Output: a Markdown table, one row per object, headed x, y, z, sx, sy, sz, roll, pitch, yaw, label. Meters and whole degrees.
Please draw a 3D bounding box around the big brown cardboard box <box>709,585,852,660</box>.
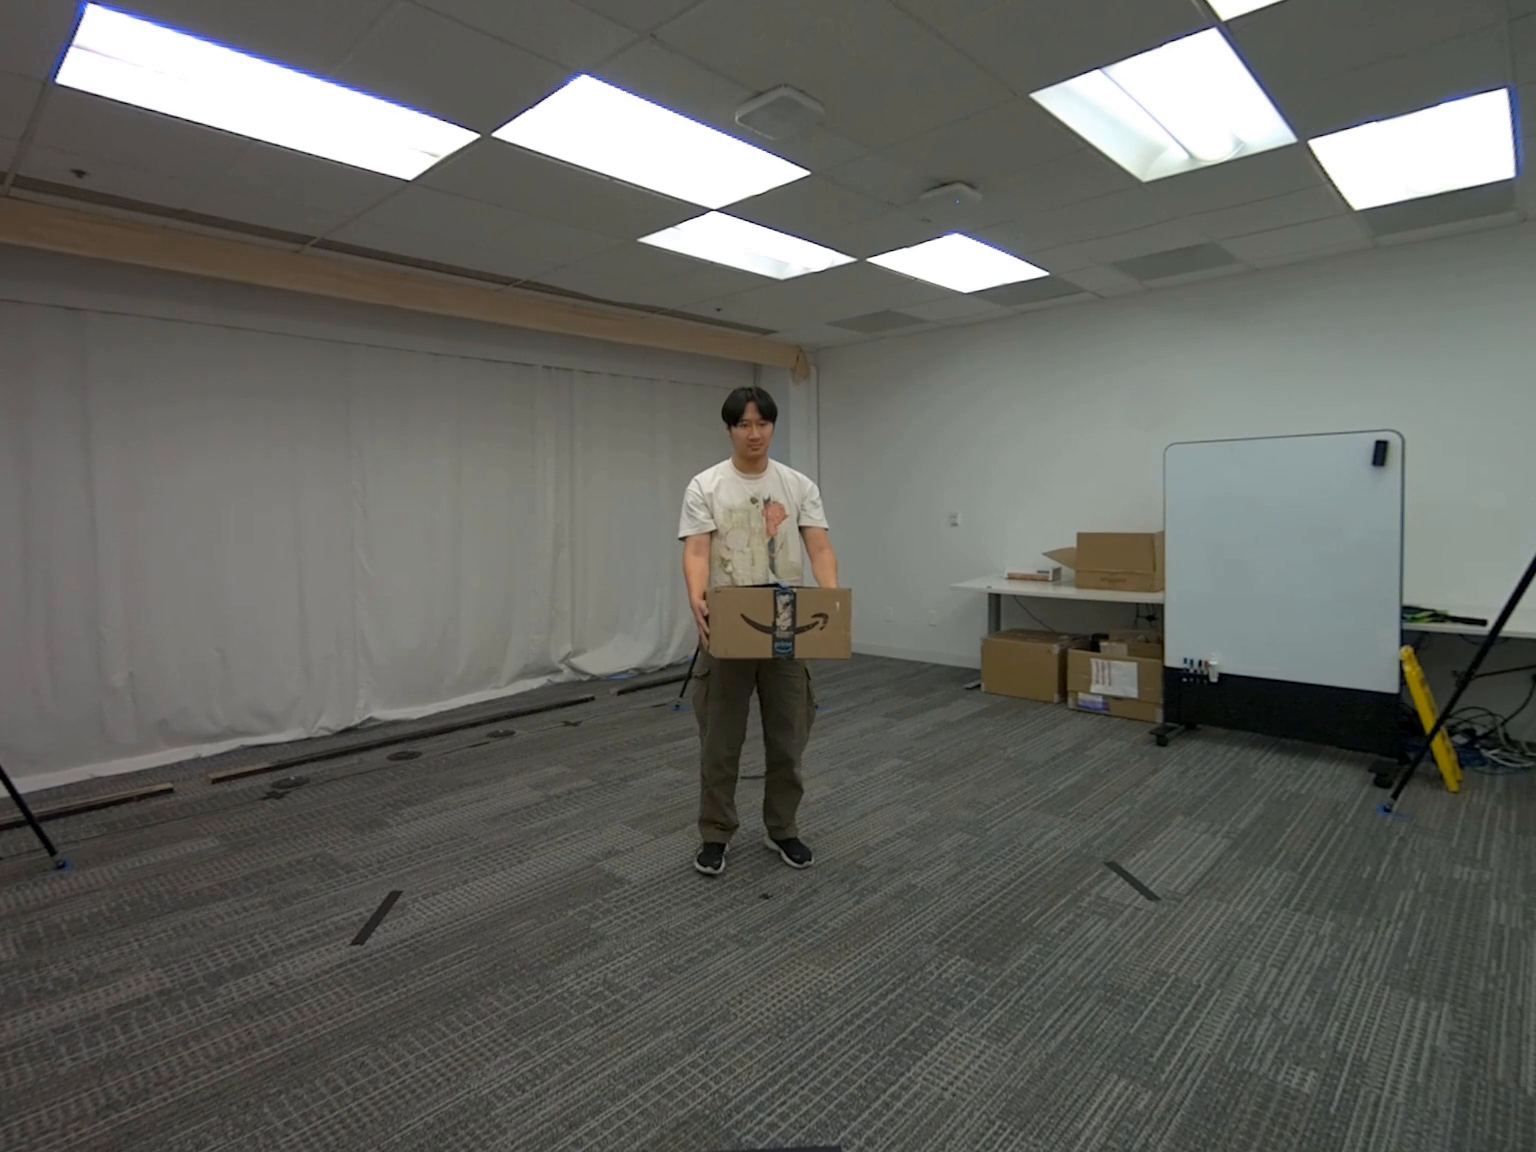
| x | y | z | sx | sy | sz | roll | pitch | yaw | label |
| --- | --- | --- | --- | --- | --- | --- | --- | --- | --- |
| 0.017 | 0.145 | 2.800 | 0.416 | 0.233 | 0.591 | 0 | -2 | -5 | big brown cardboard box |
